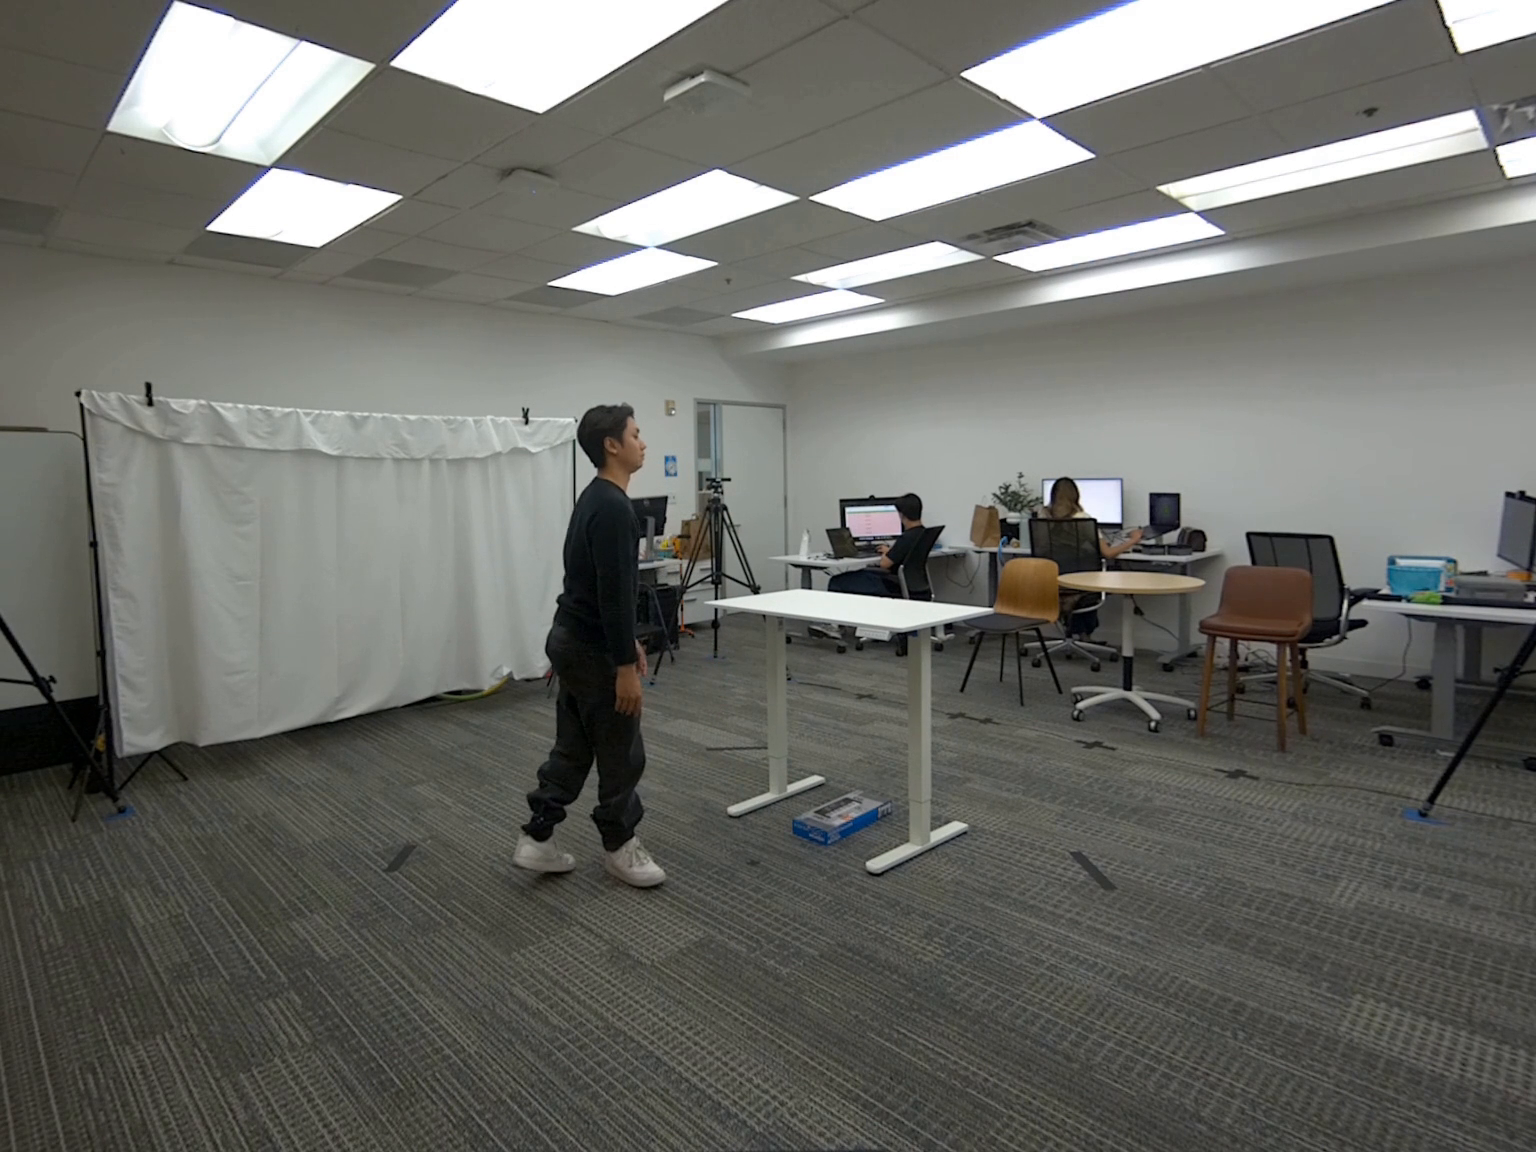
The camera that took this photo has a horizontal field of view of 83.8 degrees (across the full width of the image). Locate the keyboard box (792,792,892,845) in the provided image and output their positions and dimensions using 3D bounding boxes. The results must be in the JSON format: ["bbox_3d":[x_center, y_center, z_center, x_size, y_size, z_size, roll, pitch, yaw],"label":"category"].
[{"bbox_3d":[0.309,0.968,3.445,0.181,0.059,0.425,6,9,43],"label":"keyboard box"}]
